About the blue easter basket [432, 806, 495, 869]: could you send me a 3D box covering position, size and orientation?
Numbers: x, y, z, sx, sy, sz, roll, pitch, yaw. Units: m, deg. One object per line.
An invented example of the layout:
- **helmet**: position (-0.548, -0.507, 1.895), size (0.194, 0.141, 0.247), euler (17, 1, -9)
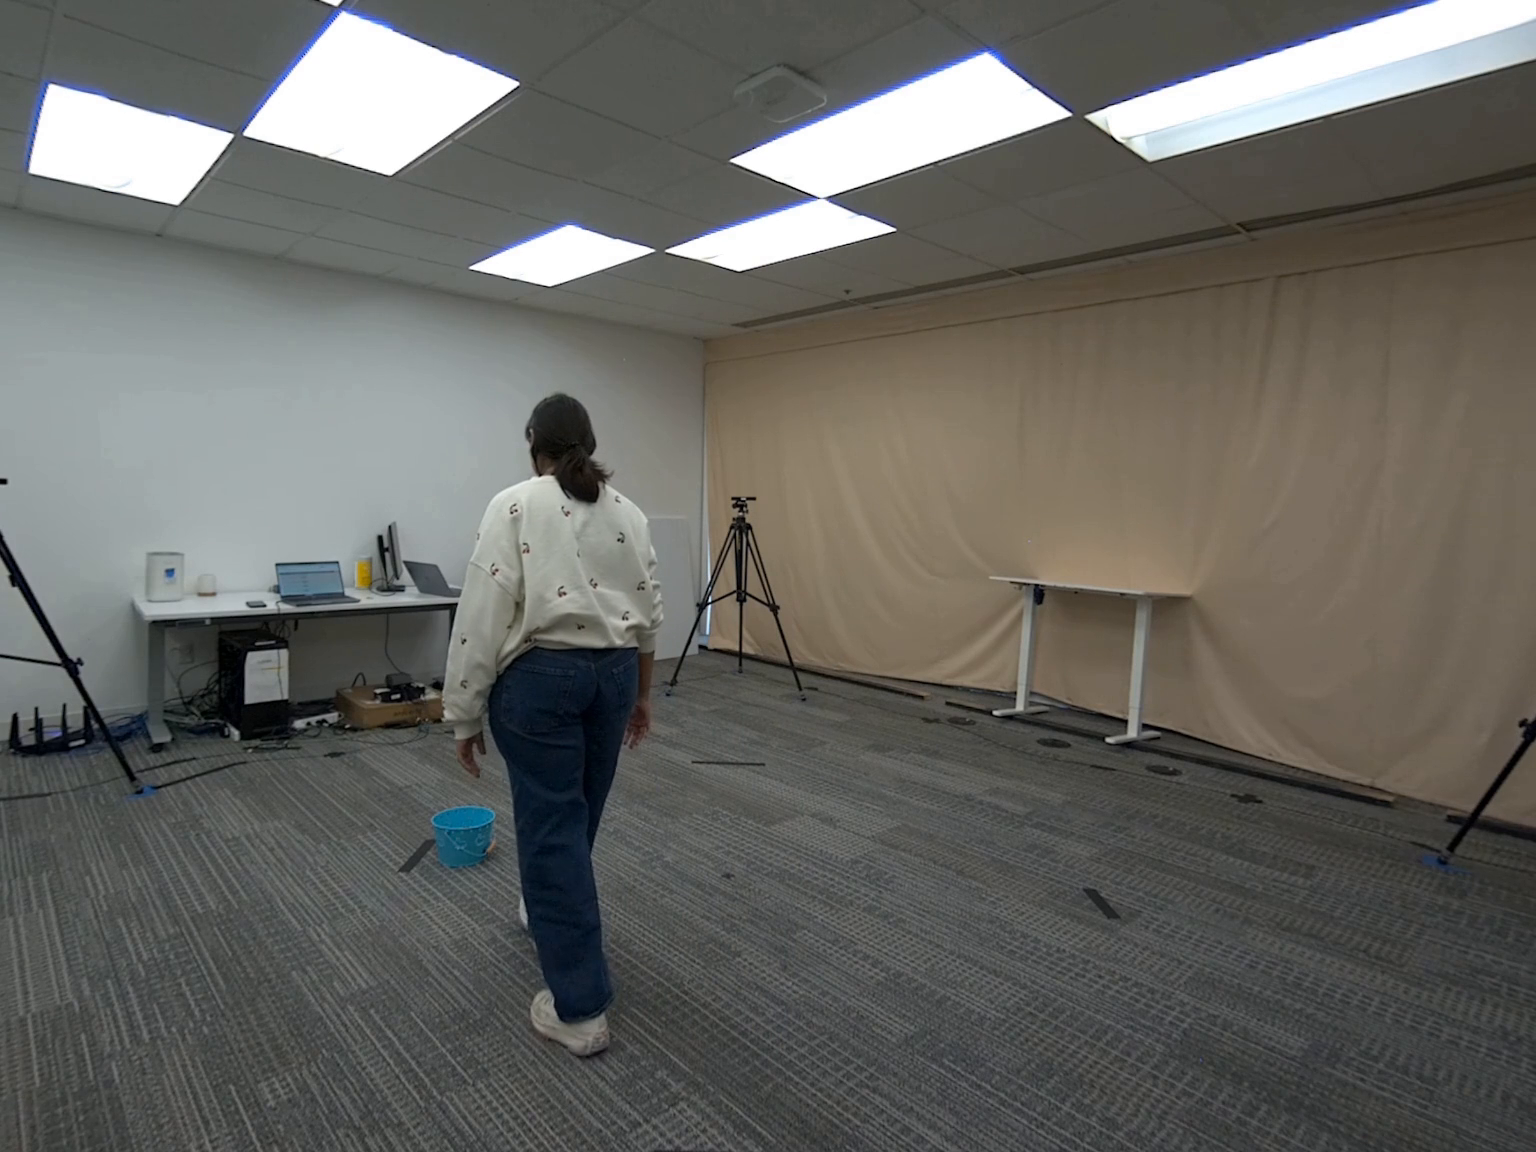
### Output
- **blue easter basket**: position (-1.167, 0.996, 3.222), size (0.243, 0.155, 0.244), euler (2, 5, -2)
